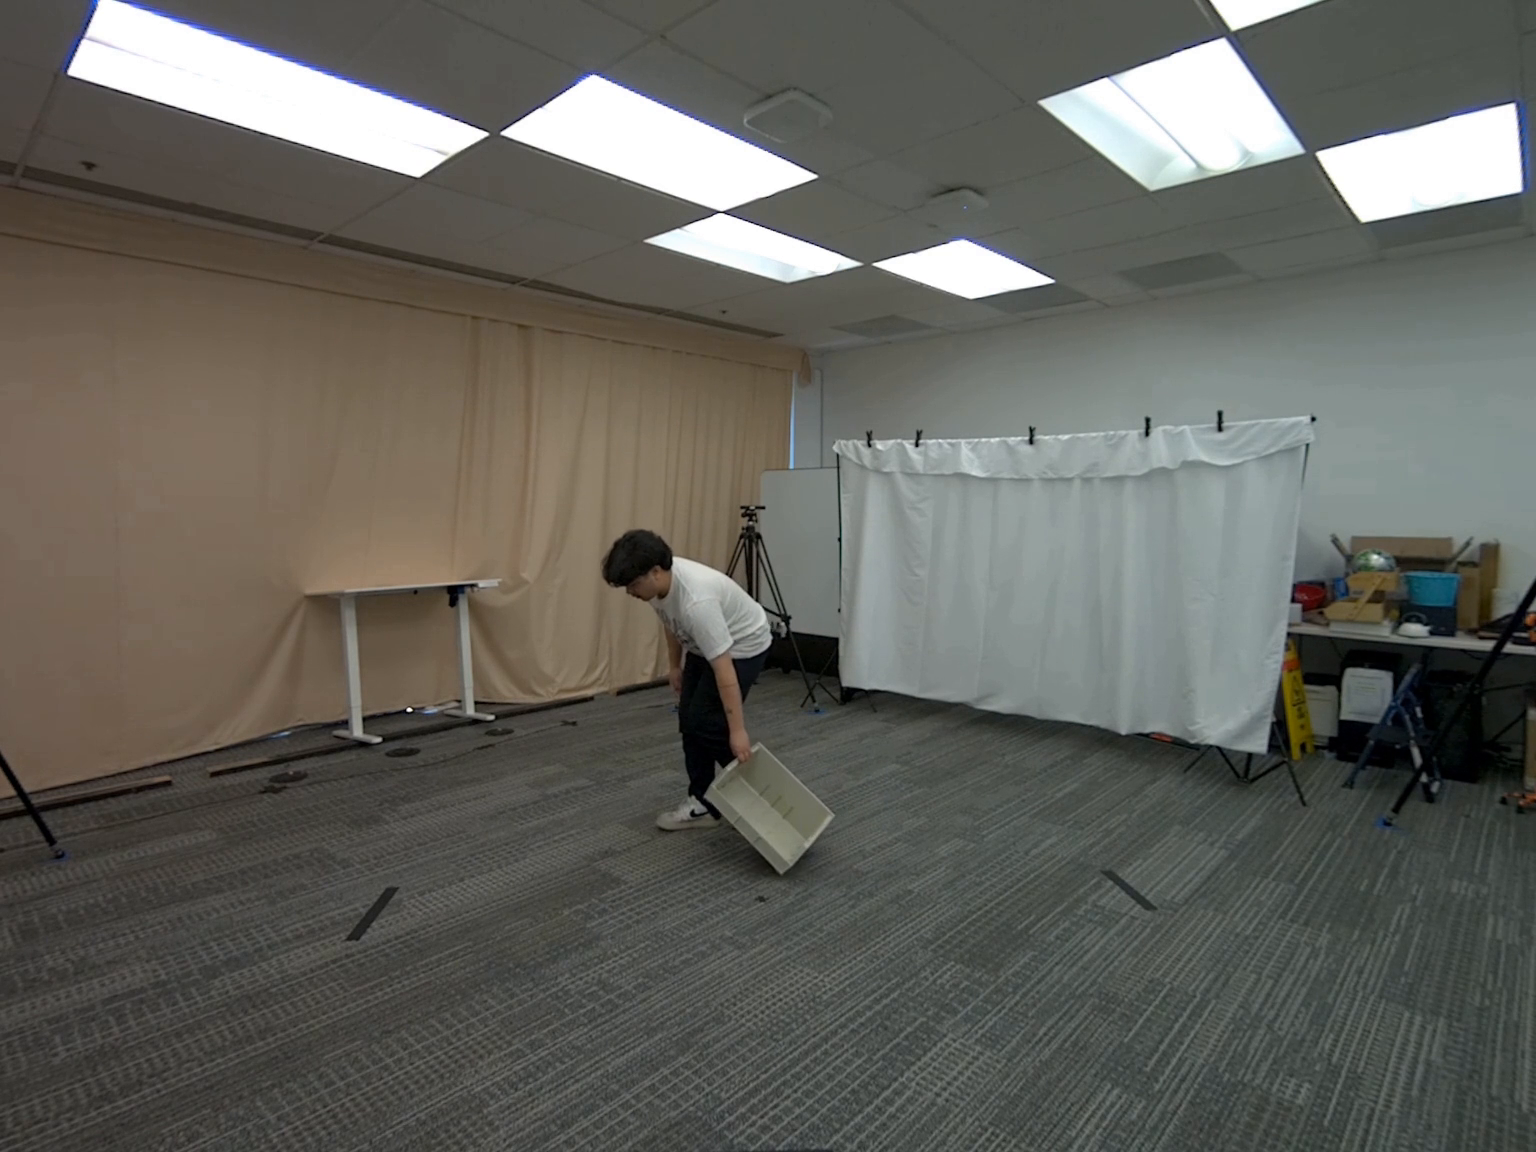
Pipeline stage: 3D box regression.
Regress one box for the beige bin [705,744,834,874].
[{"bbox_3d":[0.005,0.915,3.320,0.430,0.189,0.370,41,16,15],"label":"beige bin"}]
